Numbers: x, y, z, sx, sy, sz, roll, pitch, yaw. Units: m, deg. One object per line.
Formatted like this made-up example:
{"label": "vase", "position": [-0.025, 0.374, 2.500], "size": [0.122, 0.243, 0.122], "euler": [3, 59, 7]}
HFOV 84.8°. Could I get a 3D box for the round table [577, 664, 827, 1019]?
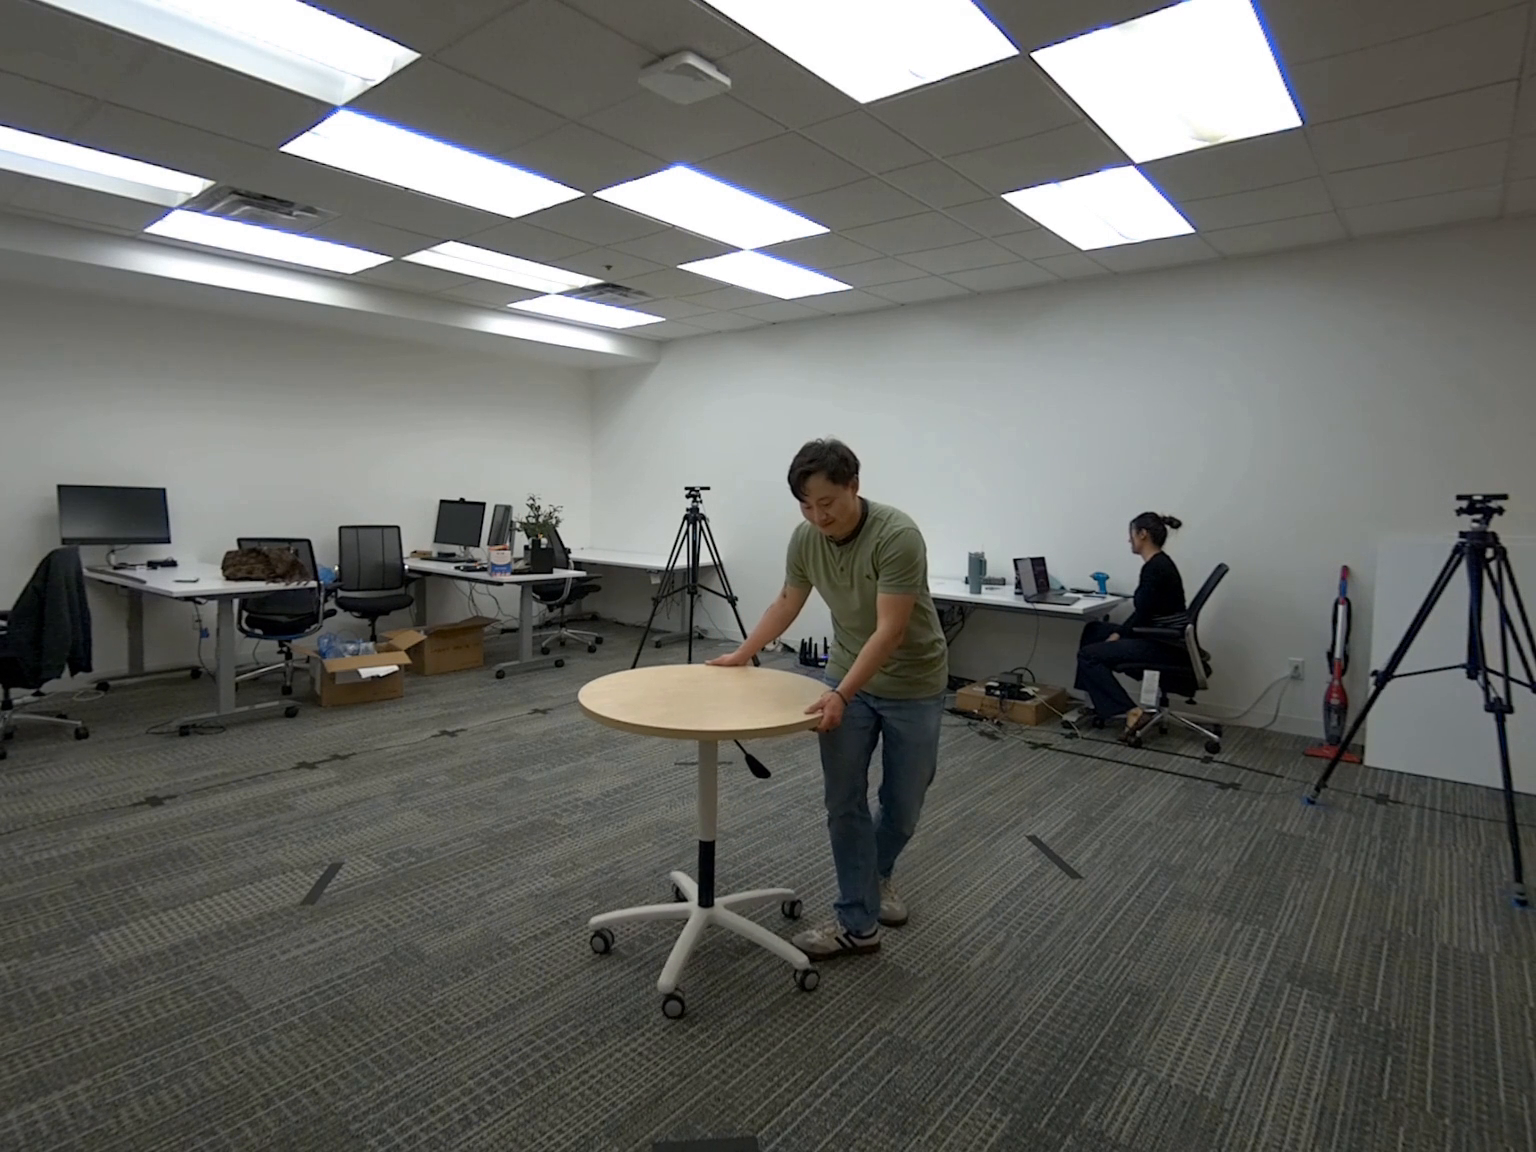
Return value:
{"label": "round table", "position": [-0.186, 0.733, 2.543], "size": [0.763, 0.791, 0.768], "euler": [1, 5, -2]}
